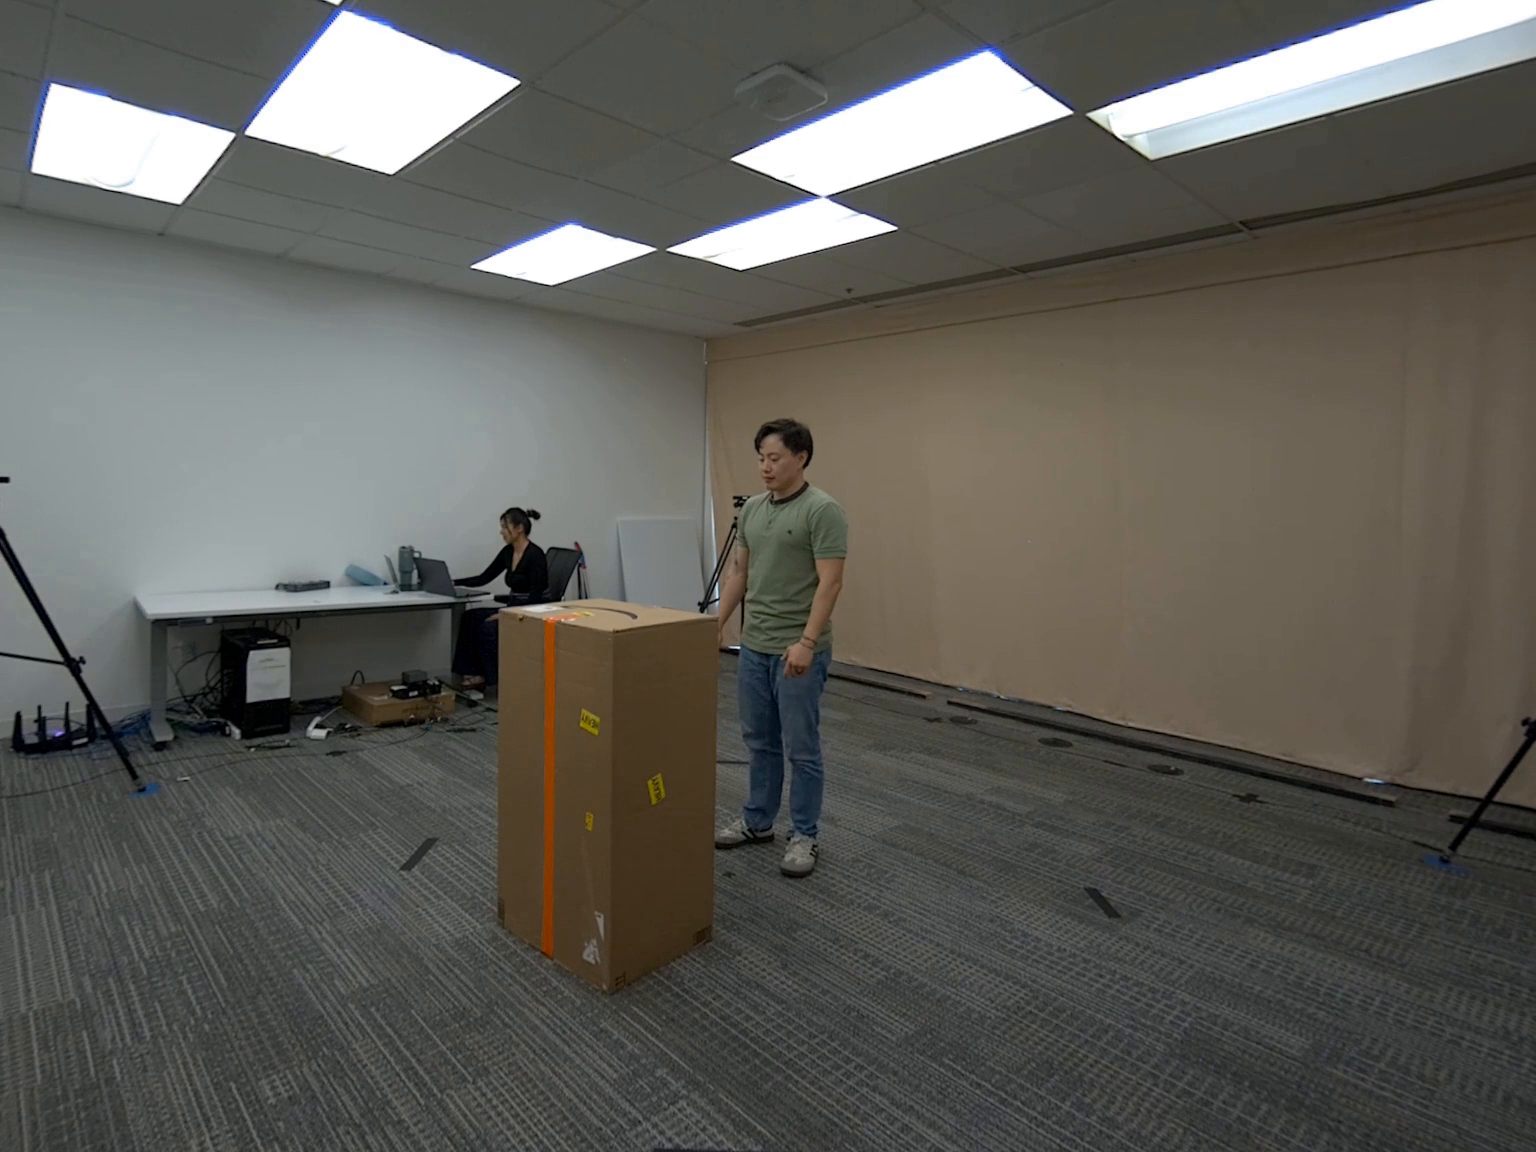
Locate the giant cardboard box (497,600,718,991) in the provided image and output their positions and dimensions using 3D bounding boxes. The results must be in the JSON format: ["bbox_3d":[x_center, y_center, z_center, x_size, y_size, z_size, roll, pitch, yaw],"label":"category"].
[{"bbox_3d":[-0.523,0.626,2.651,0.592,1.023,0.416,4,4,42],"label":"giant cardboard box"}]
